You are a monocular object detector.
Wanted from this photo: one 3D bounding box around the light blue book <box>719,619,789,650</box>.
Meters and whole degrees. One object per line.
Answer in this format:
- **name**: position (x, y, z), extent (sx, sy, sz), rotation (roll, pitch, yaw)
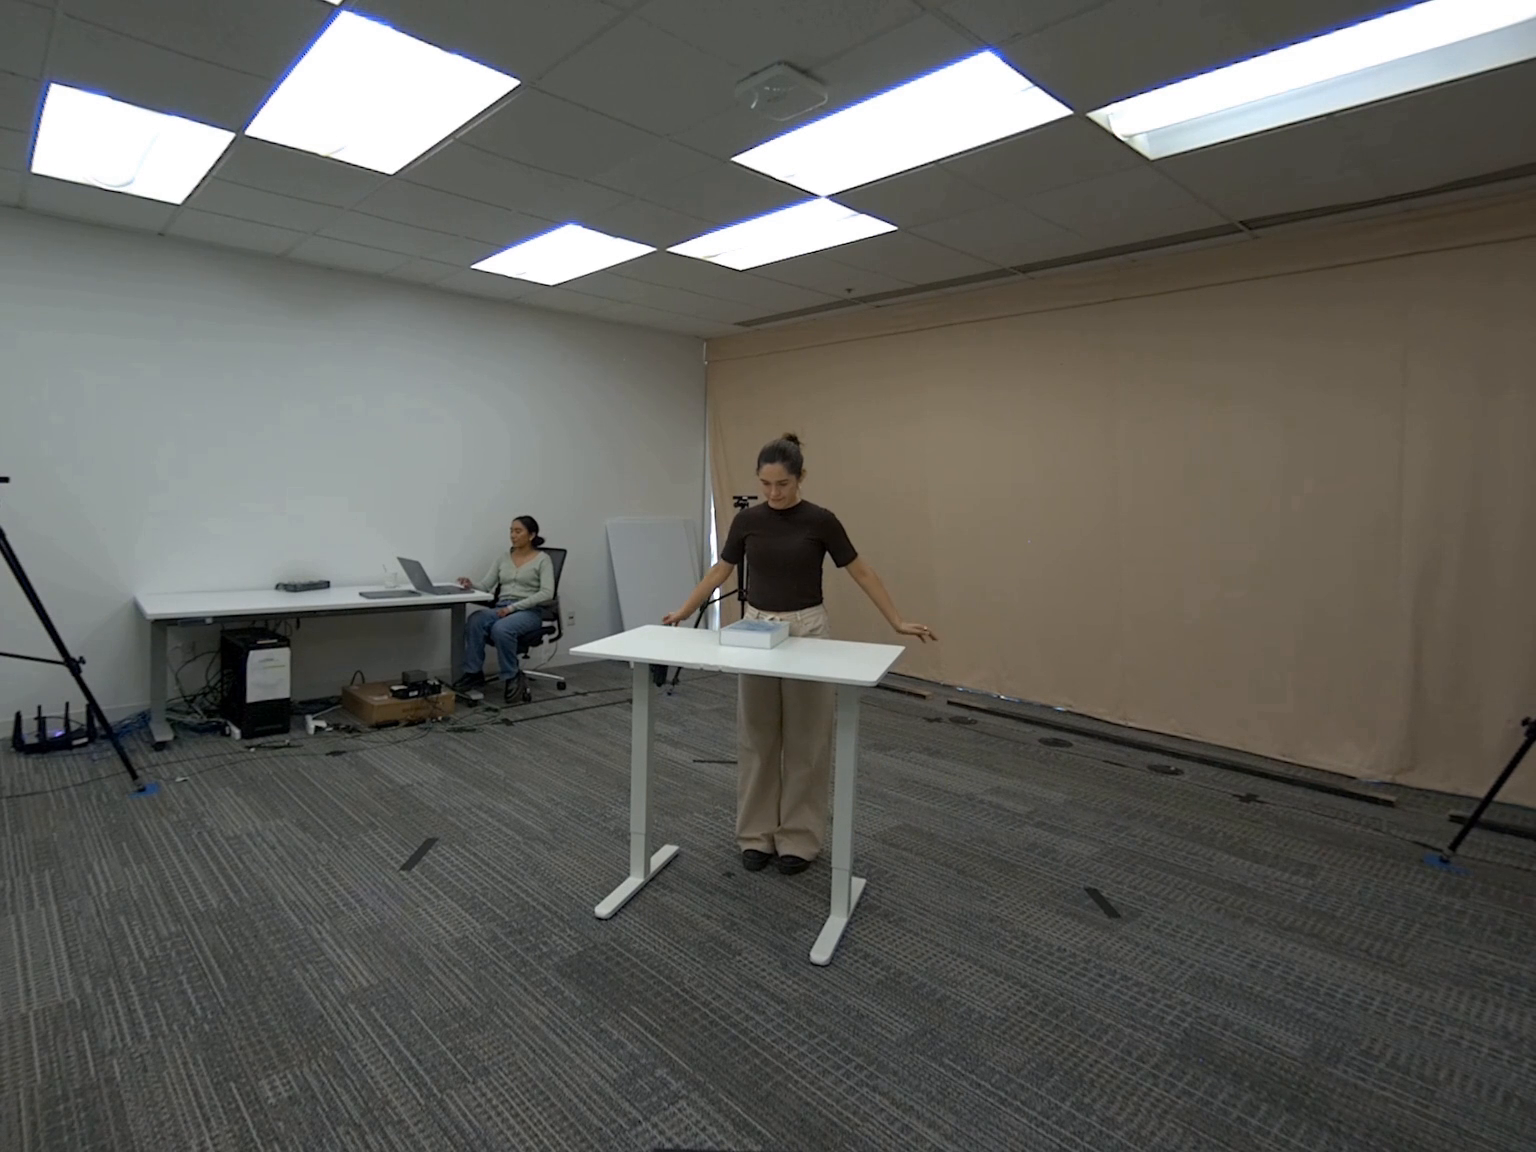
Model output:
- **light blue book**: position (-0.053, 0.207, 2.990), extent (0.194, 0.059, 0.258), rotation (3, 5, 16)
